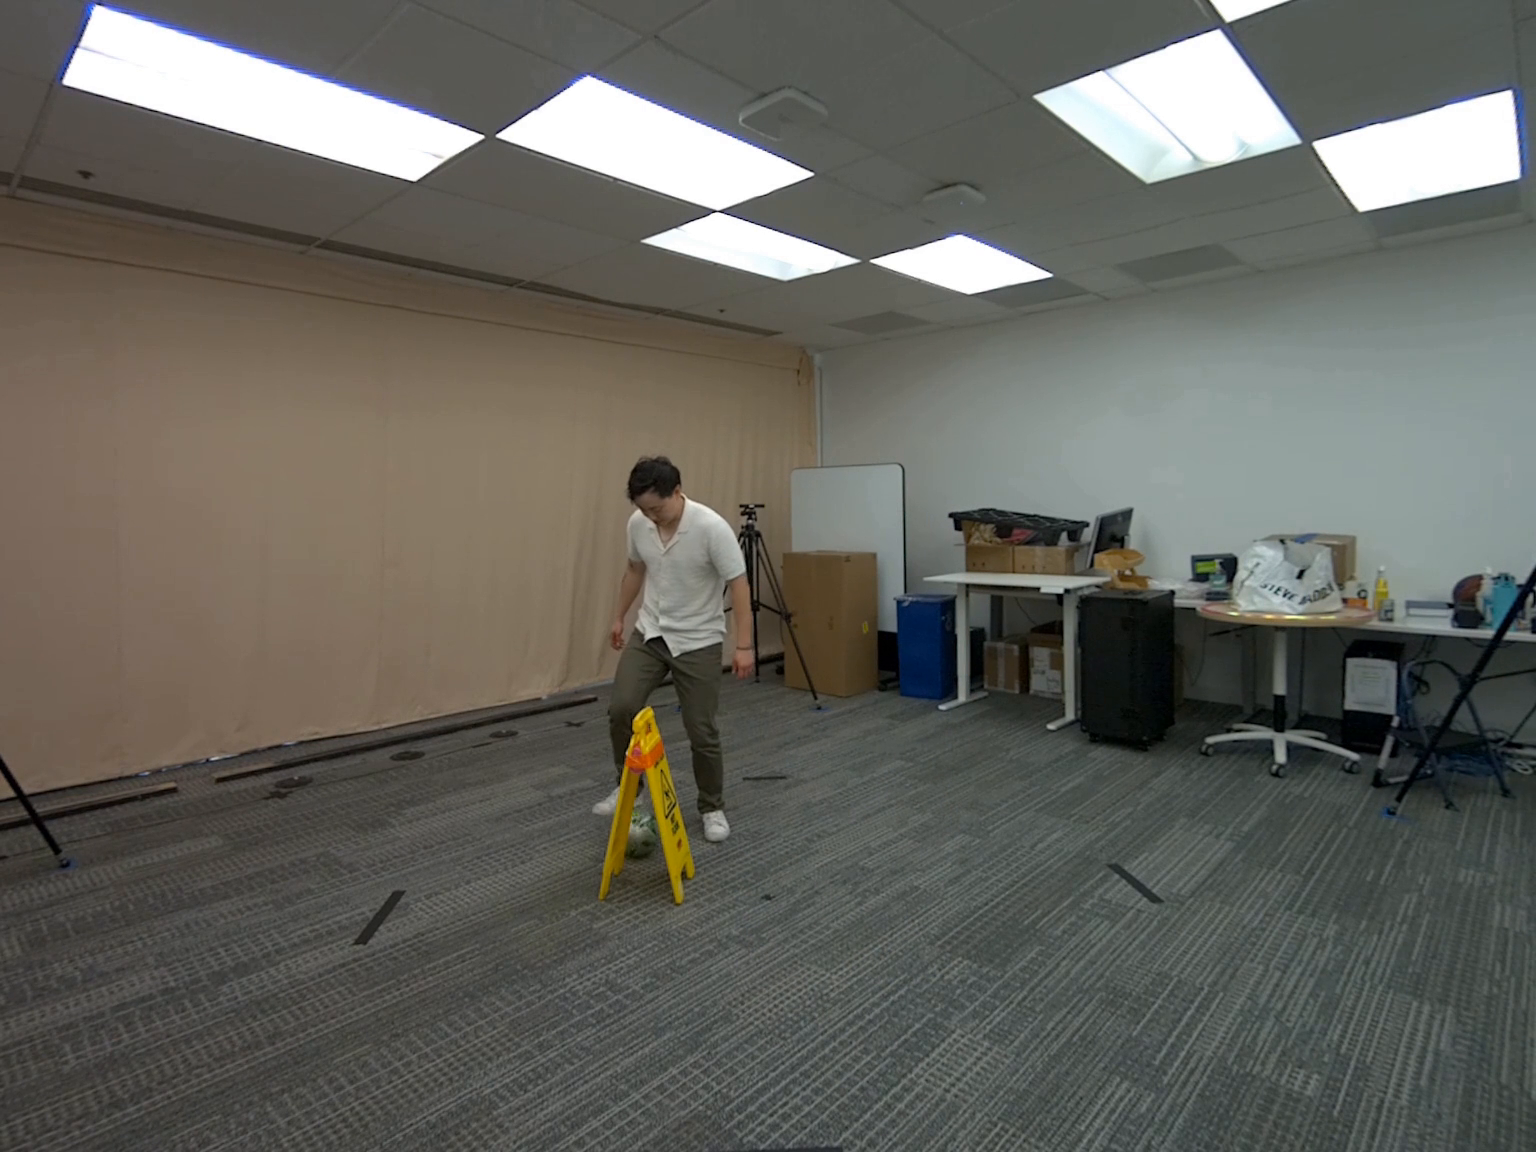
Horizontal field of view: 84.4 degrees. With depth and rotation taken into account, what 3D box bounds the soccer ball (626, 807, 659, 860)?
[{"bbox_3d":[-0.518,1.026,3.374,0.187,0.187,0.188,-1,4,-2],"label":"soccer ball"}]
